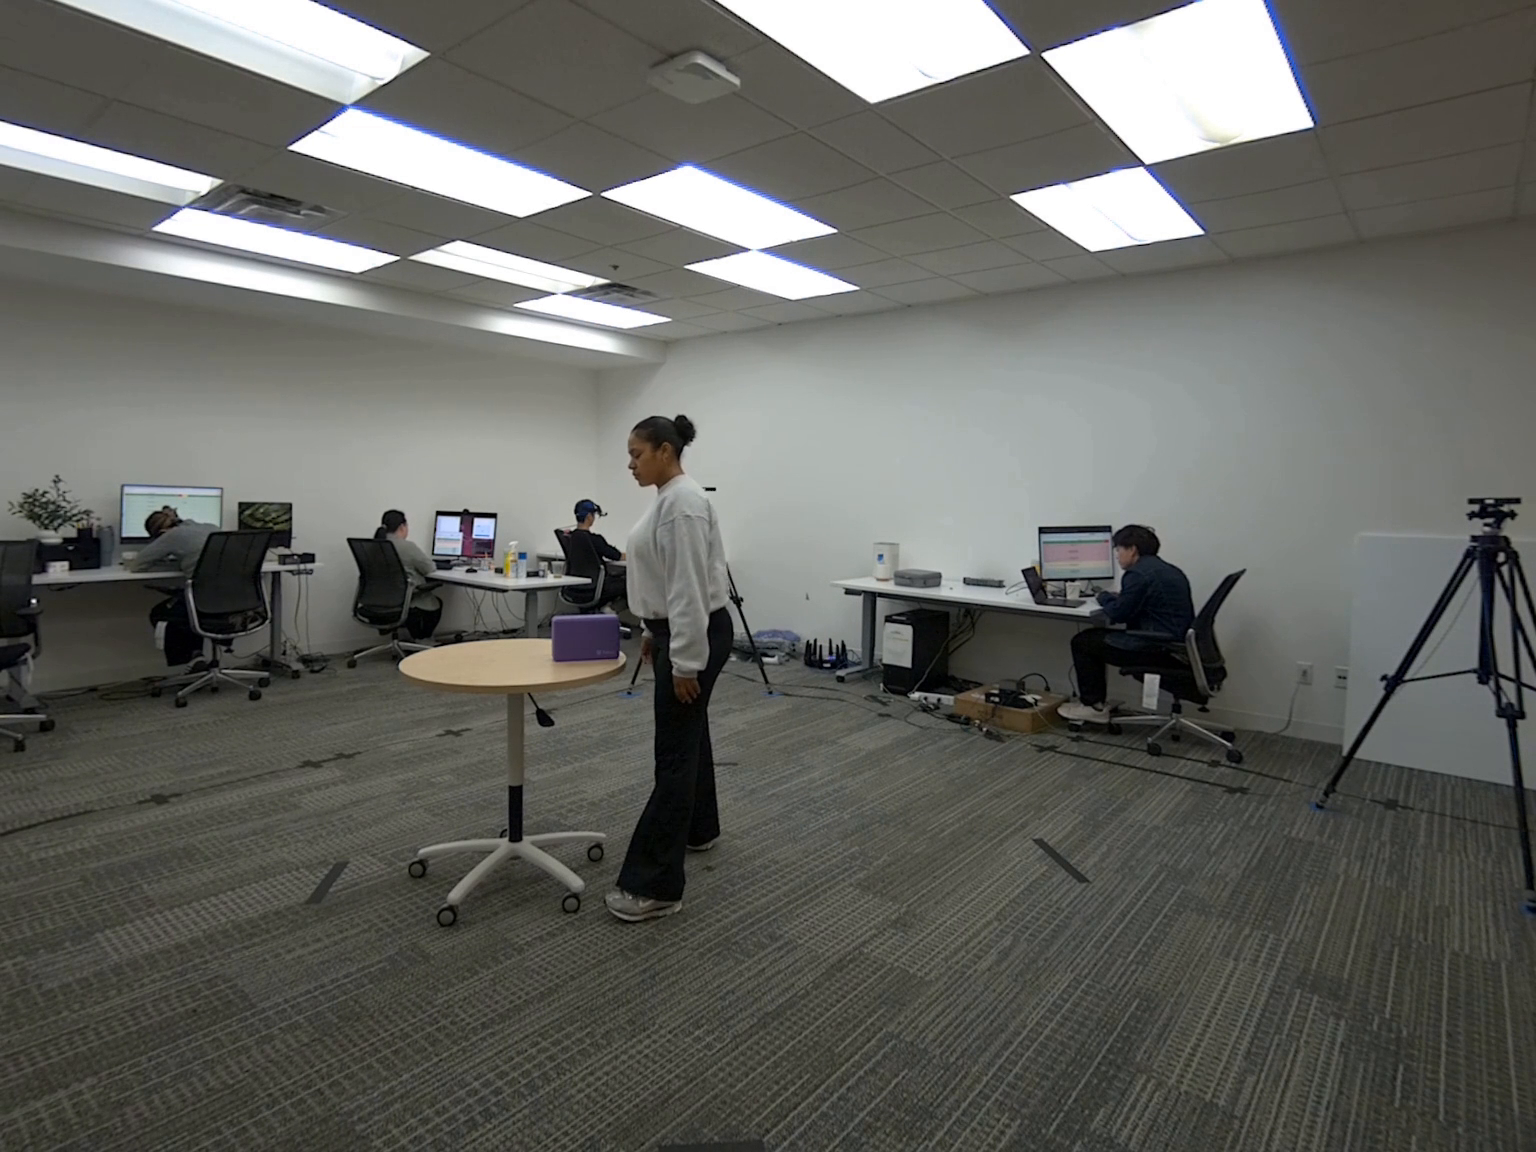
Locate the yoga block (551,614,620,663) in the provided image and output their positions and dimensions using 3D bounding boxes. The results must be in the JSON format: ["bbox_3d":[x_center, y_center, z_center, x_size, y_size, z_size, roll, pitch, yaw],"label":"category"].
[{"bbox_3d":[-0.653,0.211,2.991,0.225,0.149,0.078,-1,2,-16],"label":"yoga block"}]
